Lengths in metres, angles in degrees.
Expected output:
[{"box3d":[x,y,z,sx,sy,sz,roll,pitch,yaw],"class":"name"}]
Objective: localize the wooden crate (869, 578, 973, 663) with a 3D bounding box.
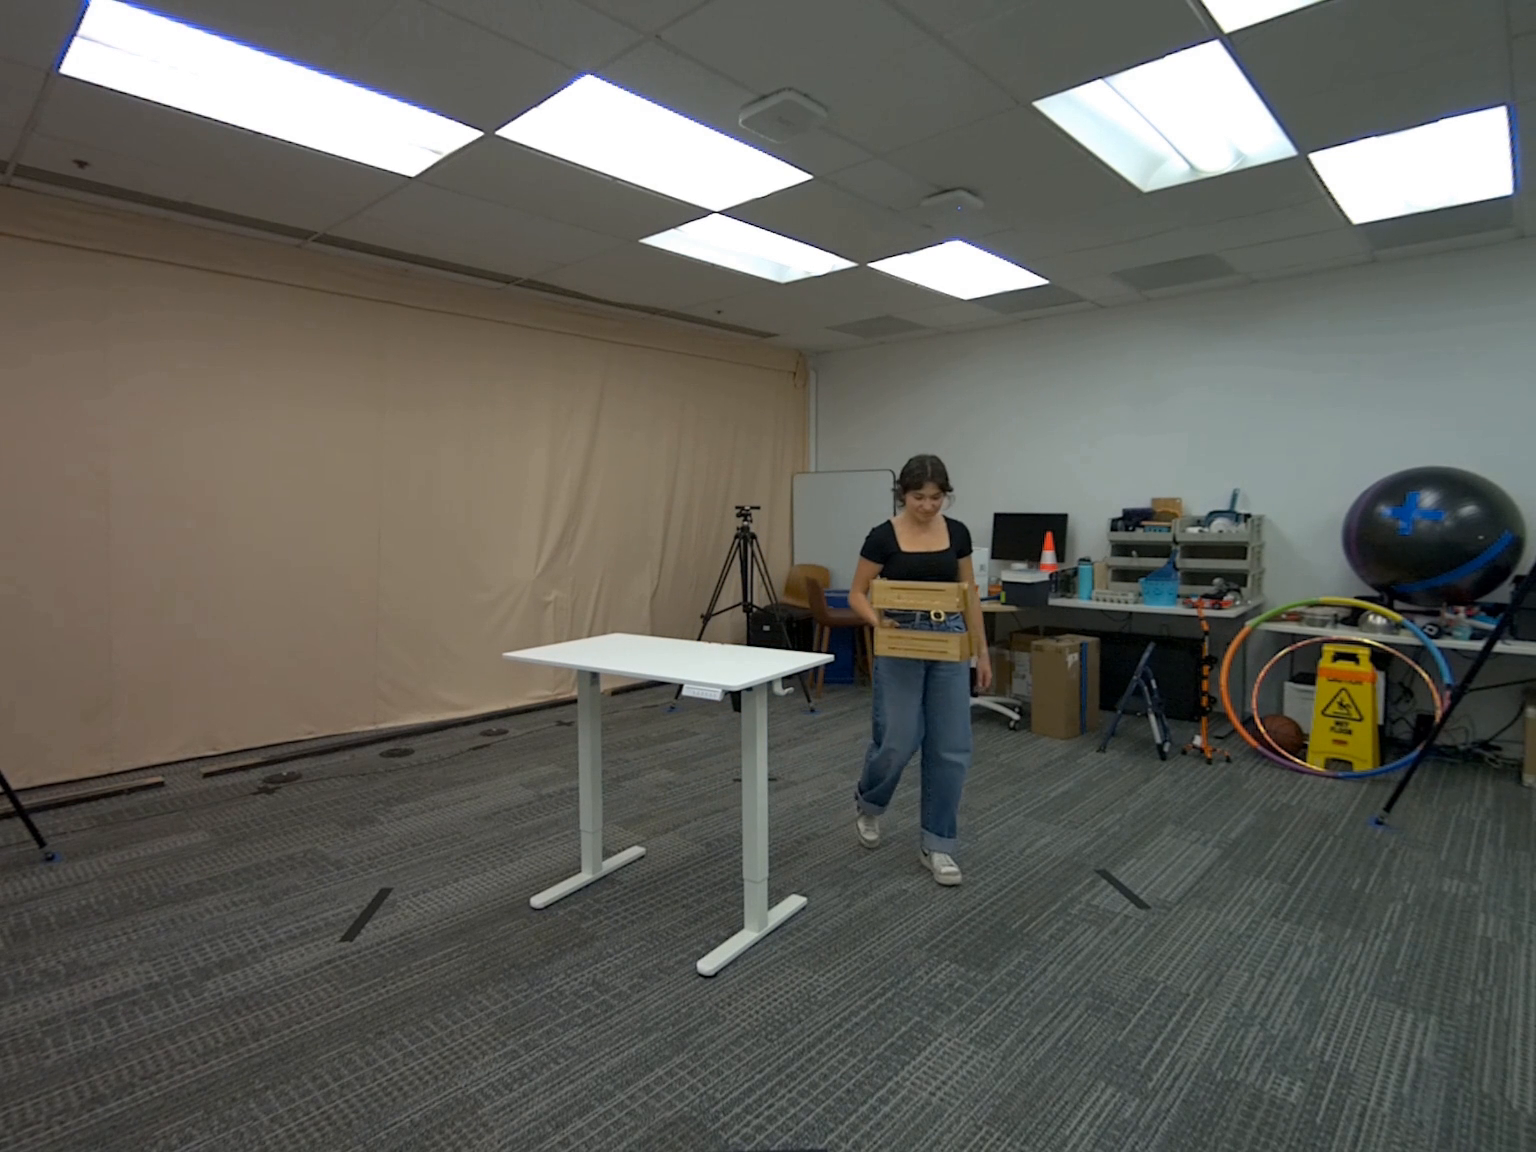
[{"box3d":[0.547,0.142,2.920,0.333,0.273,0.294,1,3,27],"class":"wooden crate"}]
